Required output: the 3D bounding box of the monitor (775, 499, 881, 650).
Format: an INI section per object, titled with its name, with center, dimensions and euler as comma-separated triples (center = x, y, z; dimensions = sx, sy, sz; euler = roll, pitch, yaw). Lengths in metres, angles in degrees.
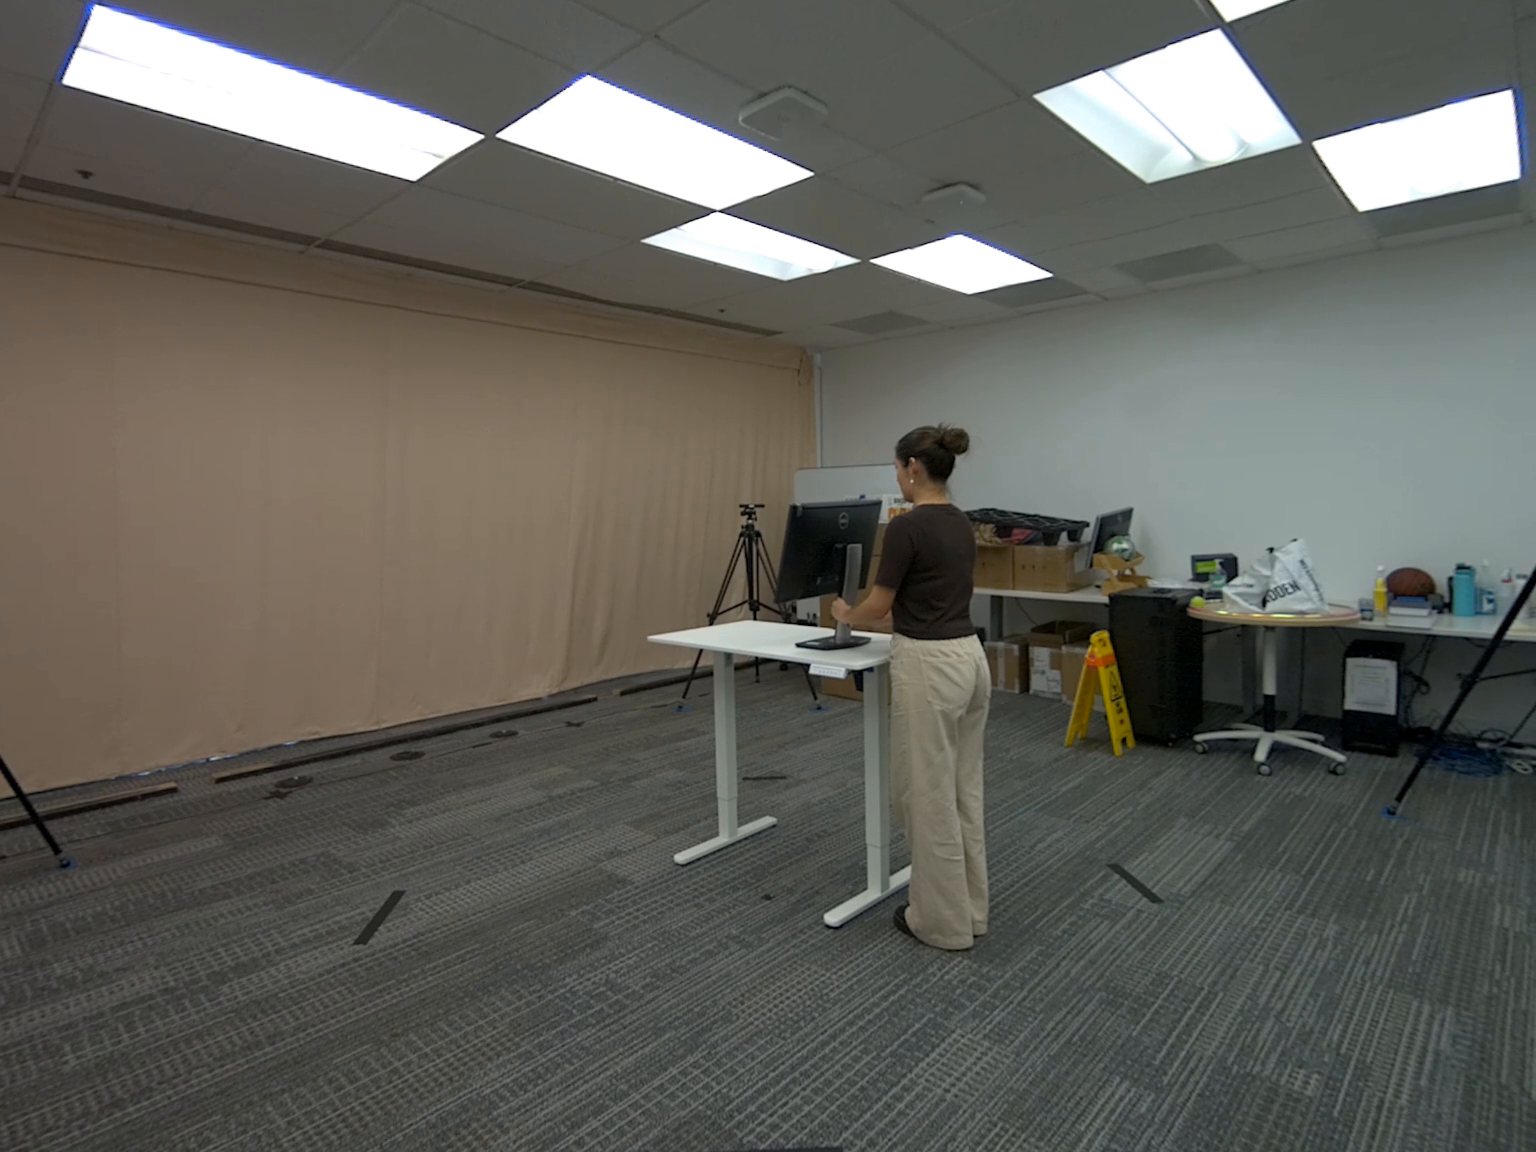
[monitor]
center = 0.247, -0.010, 3.027
dimensions = 0.180, 0.515, 0.514
euler = -4, 3, 42
